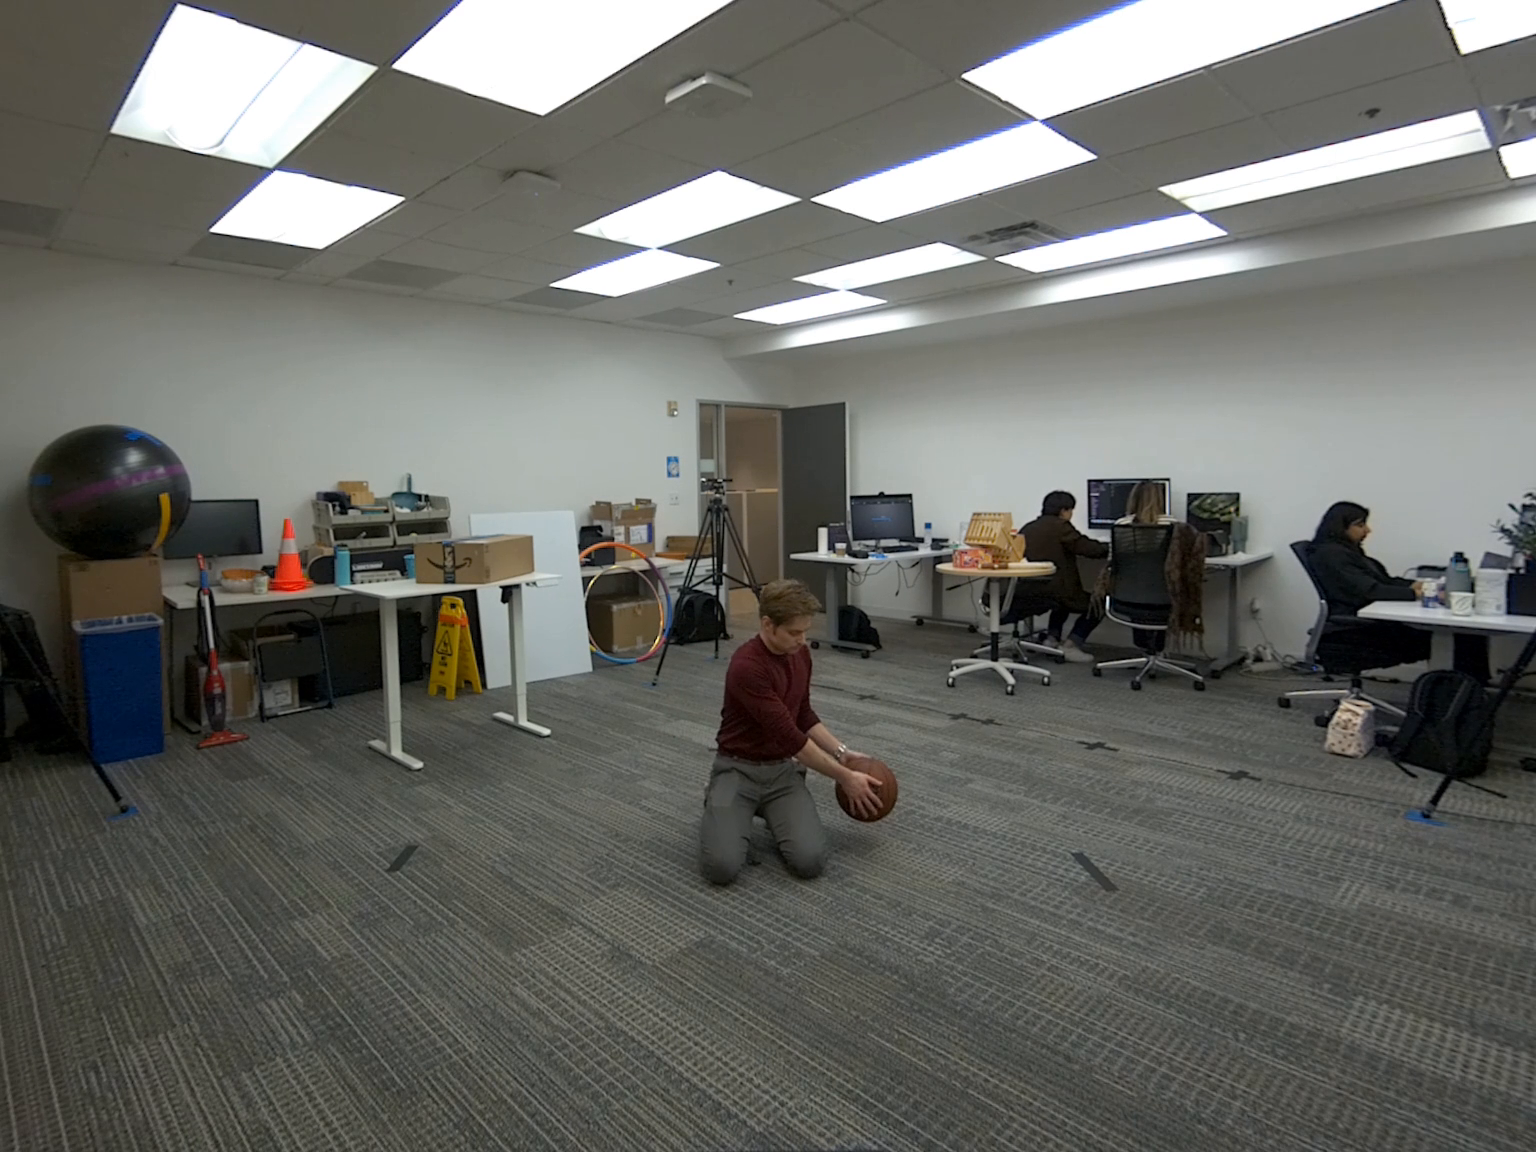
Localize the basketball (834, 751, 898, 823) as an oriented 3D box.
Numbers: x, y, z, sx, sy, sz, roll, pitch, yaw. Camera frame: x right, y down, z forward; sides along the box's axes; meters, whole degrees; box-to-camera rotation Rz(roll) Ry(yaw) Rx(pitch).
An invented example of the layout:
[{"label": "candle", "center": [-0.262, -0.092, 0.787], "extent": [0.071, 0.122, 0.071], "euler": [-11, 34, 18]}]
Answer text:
[{"label": "basketball", "center": [0.375, 0.803, 3.265], "extent": [0.236, 0.235, 0.237], "euler": [-1, 5, -2]}]
